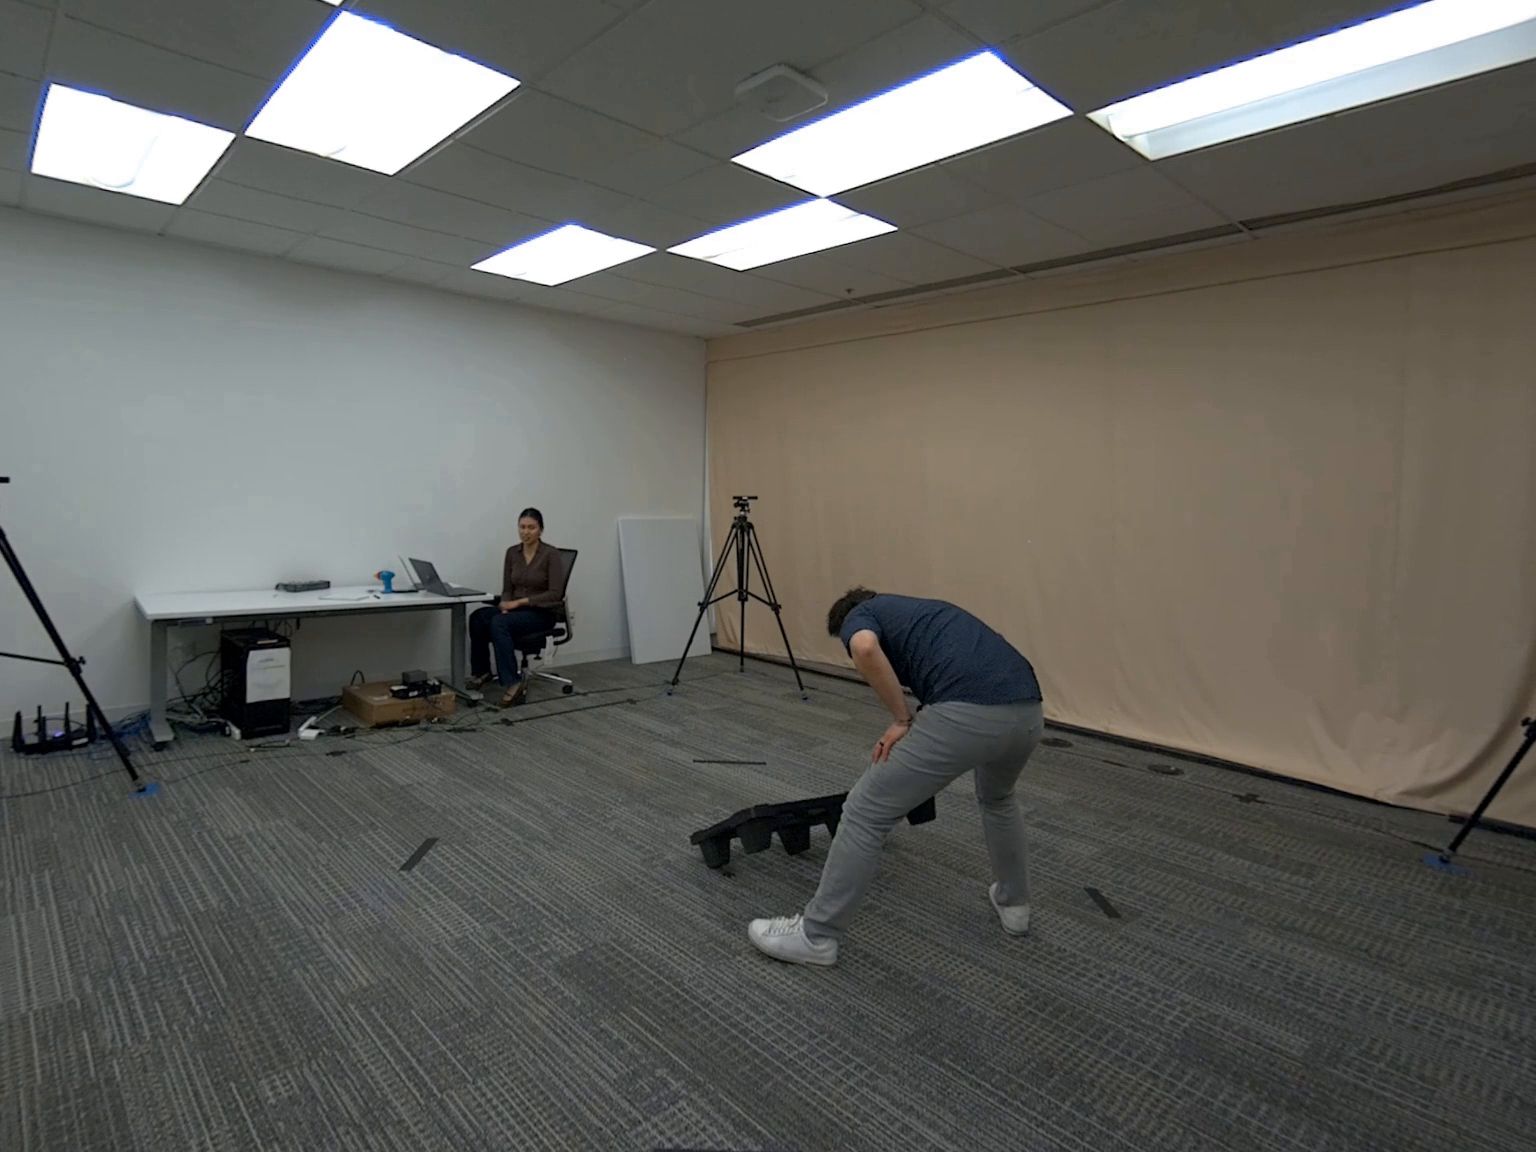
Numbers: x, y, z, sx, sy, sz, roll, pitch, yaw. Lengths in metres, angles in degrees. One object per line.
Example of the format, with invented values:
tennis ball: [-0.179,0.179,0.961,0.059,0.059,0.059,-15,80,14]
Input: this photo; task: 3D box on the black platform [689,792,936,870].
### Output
black platform: [0.187,0.937,3.135,0.791,0.146,0.605,-1,-23,-25]
